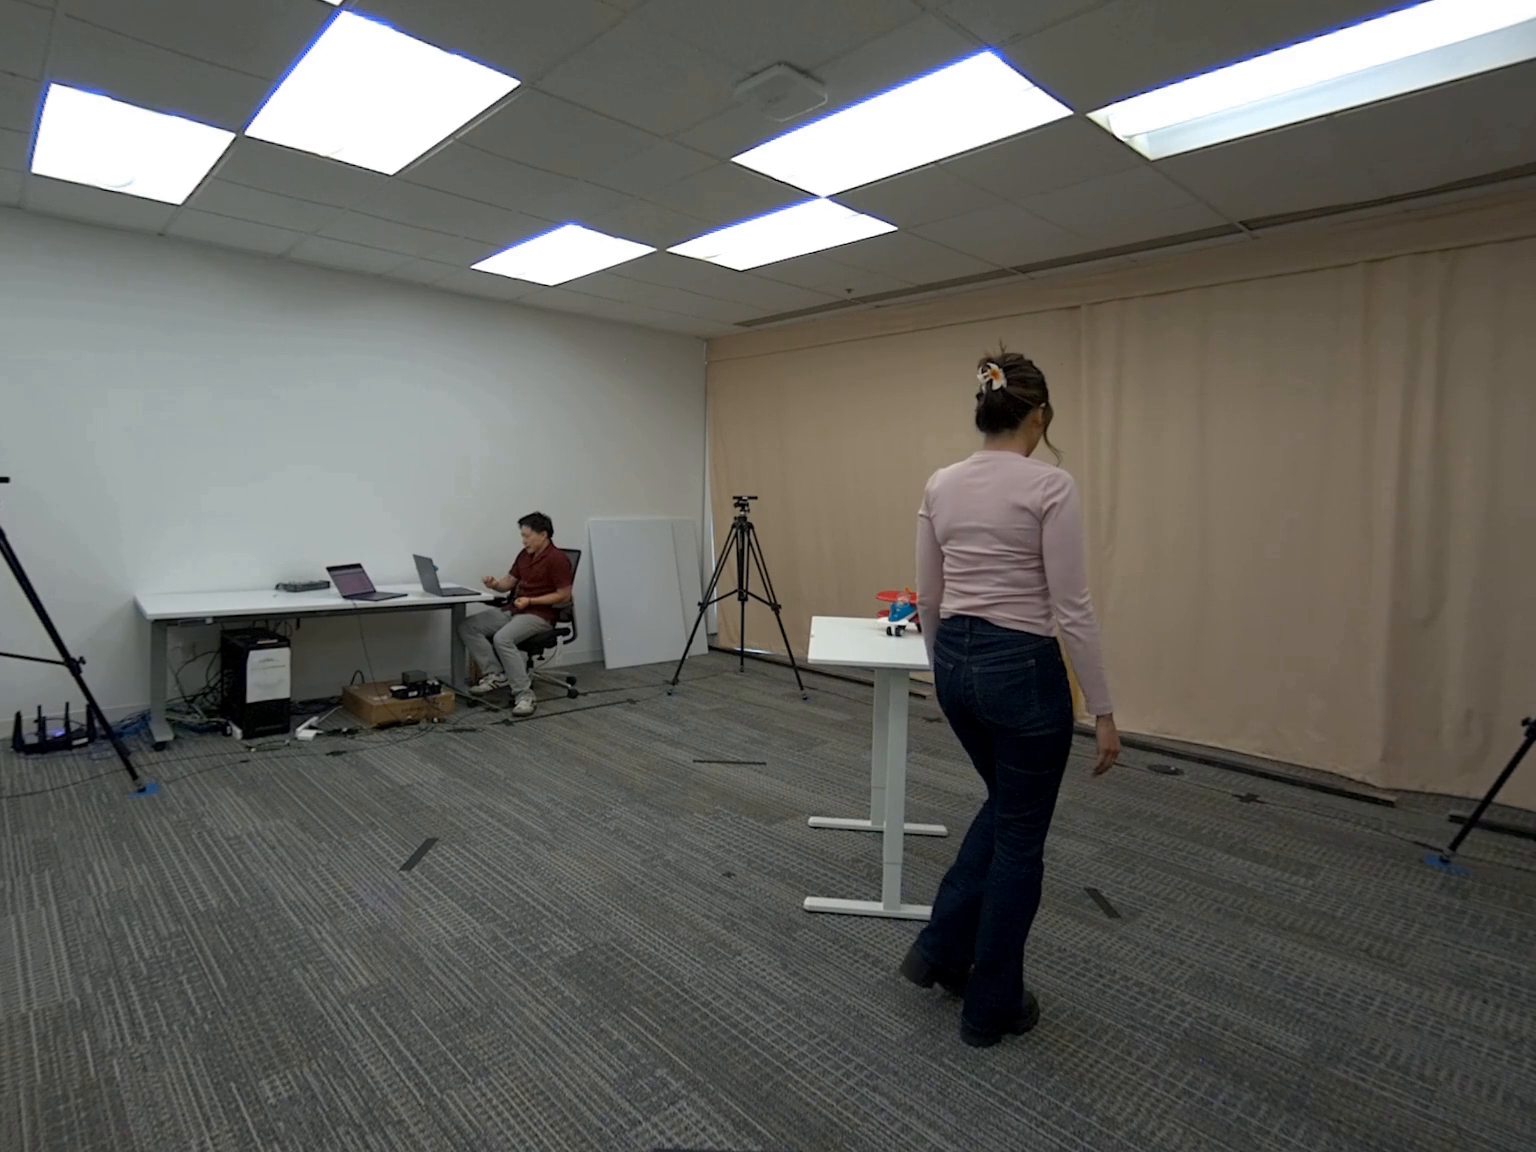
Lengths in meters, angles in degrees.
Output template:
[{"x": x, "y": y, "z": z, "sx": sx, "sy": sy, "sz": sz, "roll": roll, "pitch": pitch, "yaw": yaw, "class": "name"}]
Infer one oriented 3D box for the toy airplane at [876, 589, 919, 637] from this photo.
[{"x": 0.541, "y": 0.147, "z": 3.269, "sx": 0.252, "sy": 0.156, "sz": 0.259, "roll": 2, "pitch": 4, "yaw": 3, "class": "toy airplane"}]
